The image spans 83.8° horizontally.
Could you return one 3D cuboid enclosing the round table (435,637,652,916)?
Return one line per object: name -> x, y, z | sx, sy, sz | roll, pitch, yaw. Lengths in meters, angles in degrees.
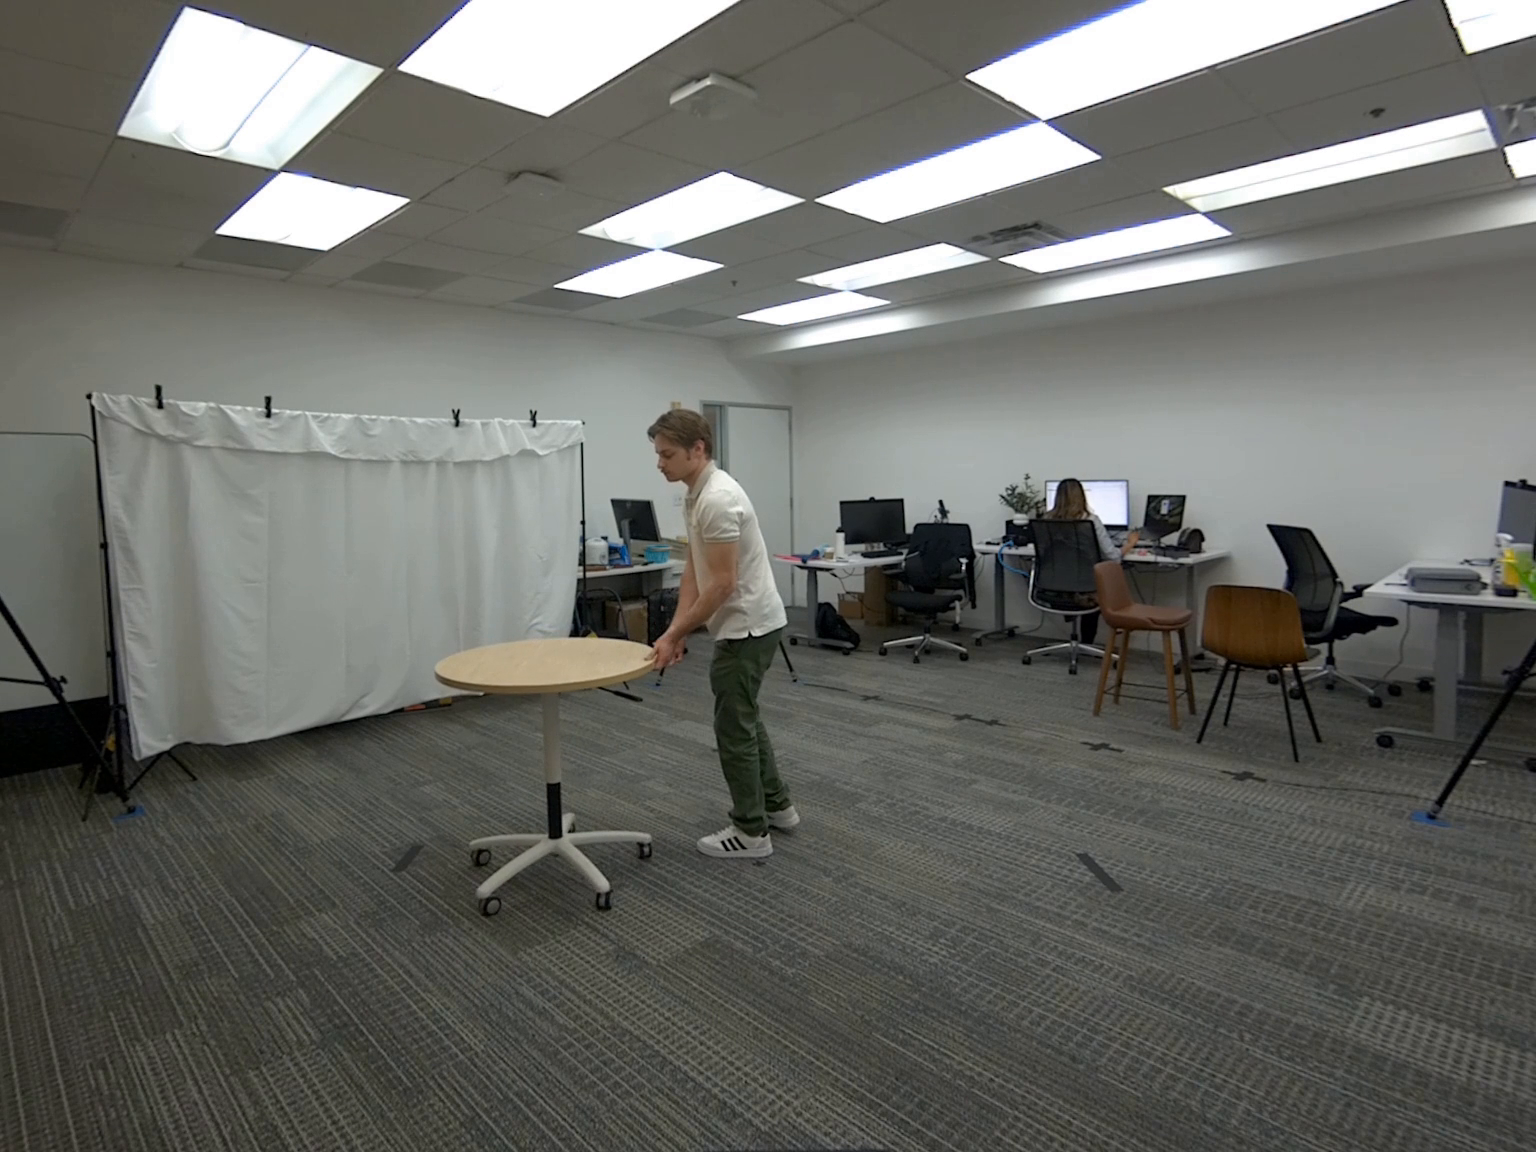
round table -> -0.752, 0.679, 3.031 | 0.763, 0.790, 0.768 | -2, 5, -2
